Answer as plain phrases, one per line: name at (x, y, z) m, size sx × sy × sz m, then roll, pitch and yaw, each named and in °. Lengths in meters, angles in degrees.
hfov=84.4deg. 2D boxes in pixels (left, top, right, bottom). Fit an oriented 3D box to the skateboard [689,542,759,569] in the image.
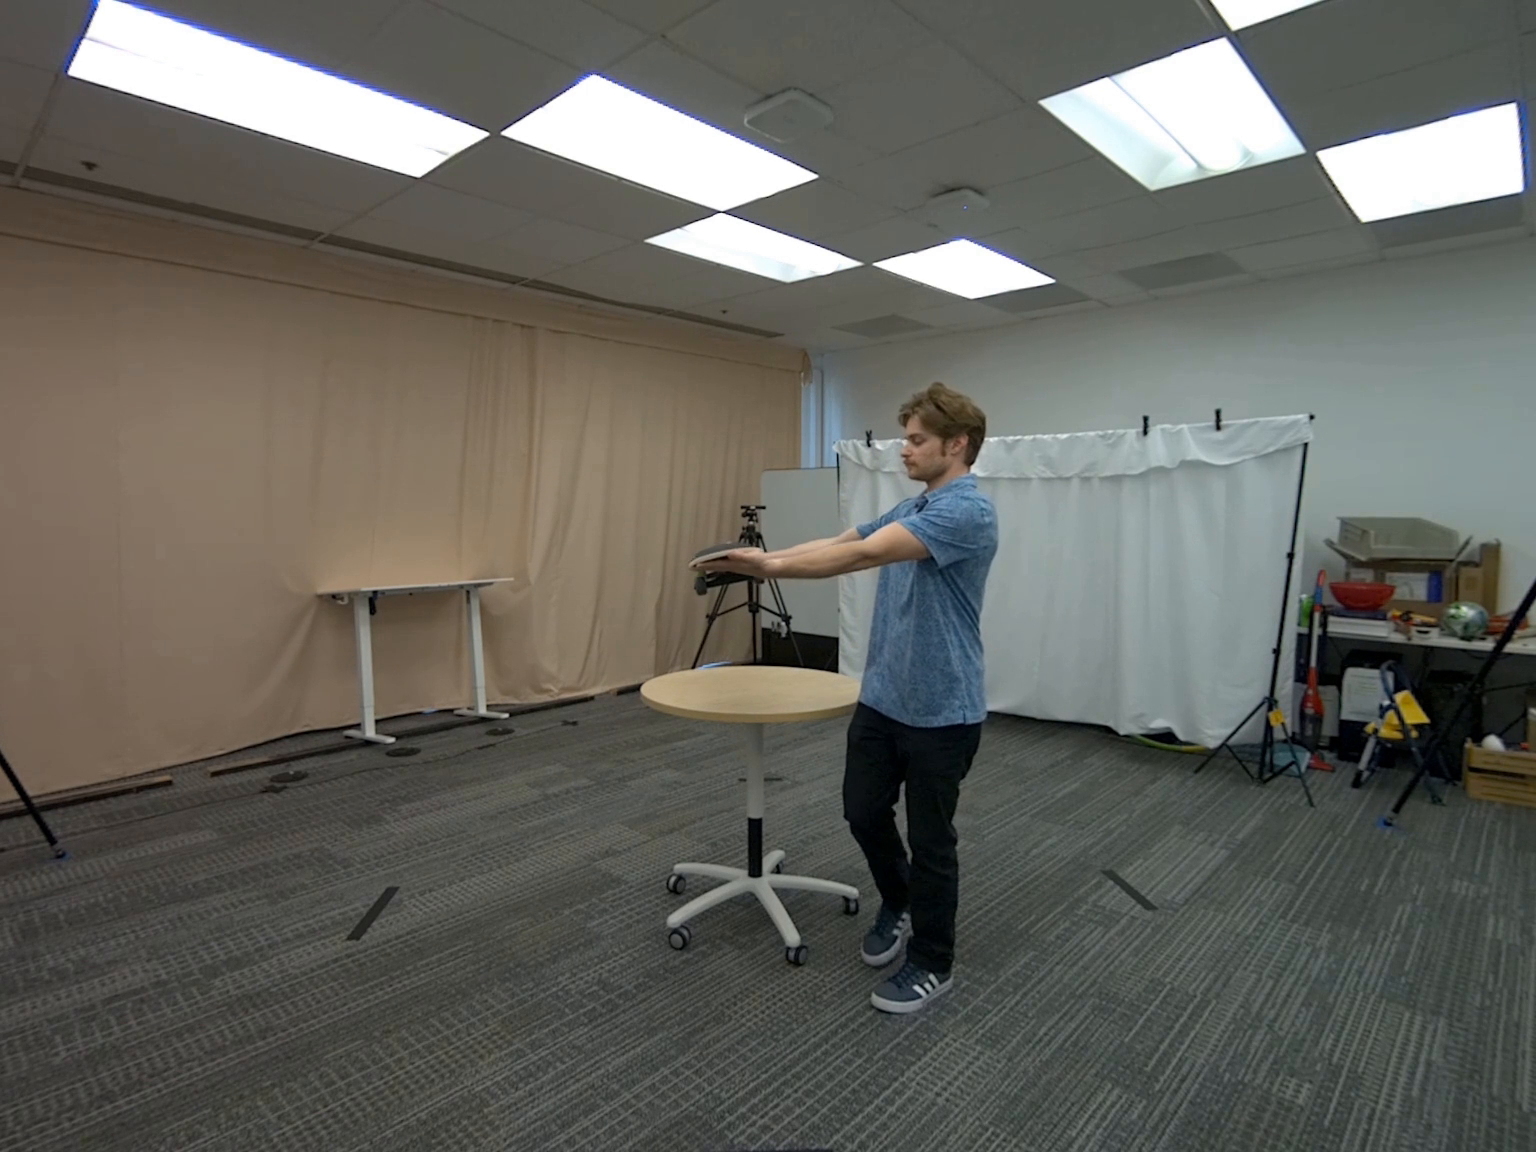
skateboard at (-0.111, -0.025, 2.391) m, size 0.193 × 0.110 × 0.789 m, roll -12°, pitch 4°, yaw -5°
